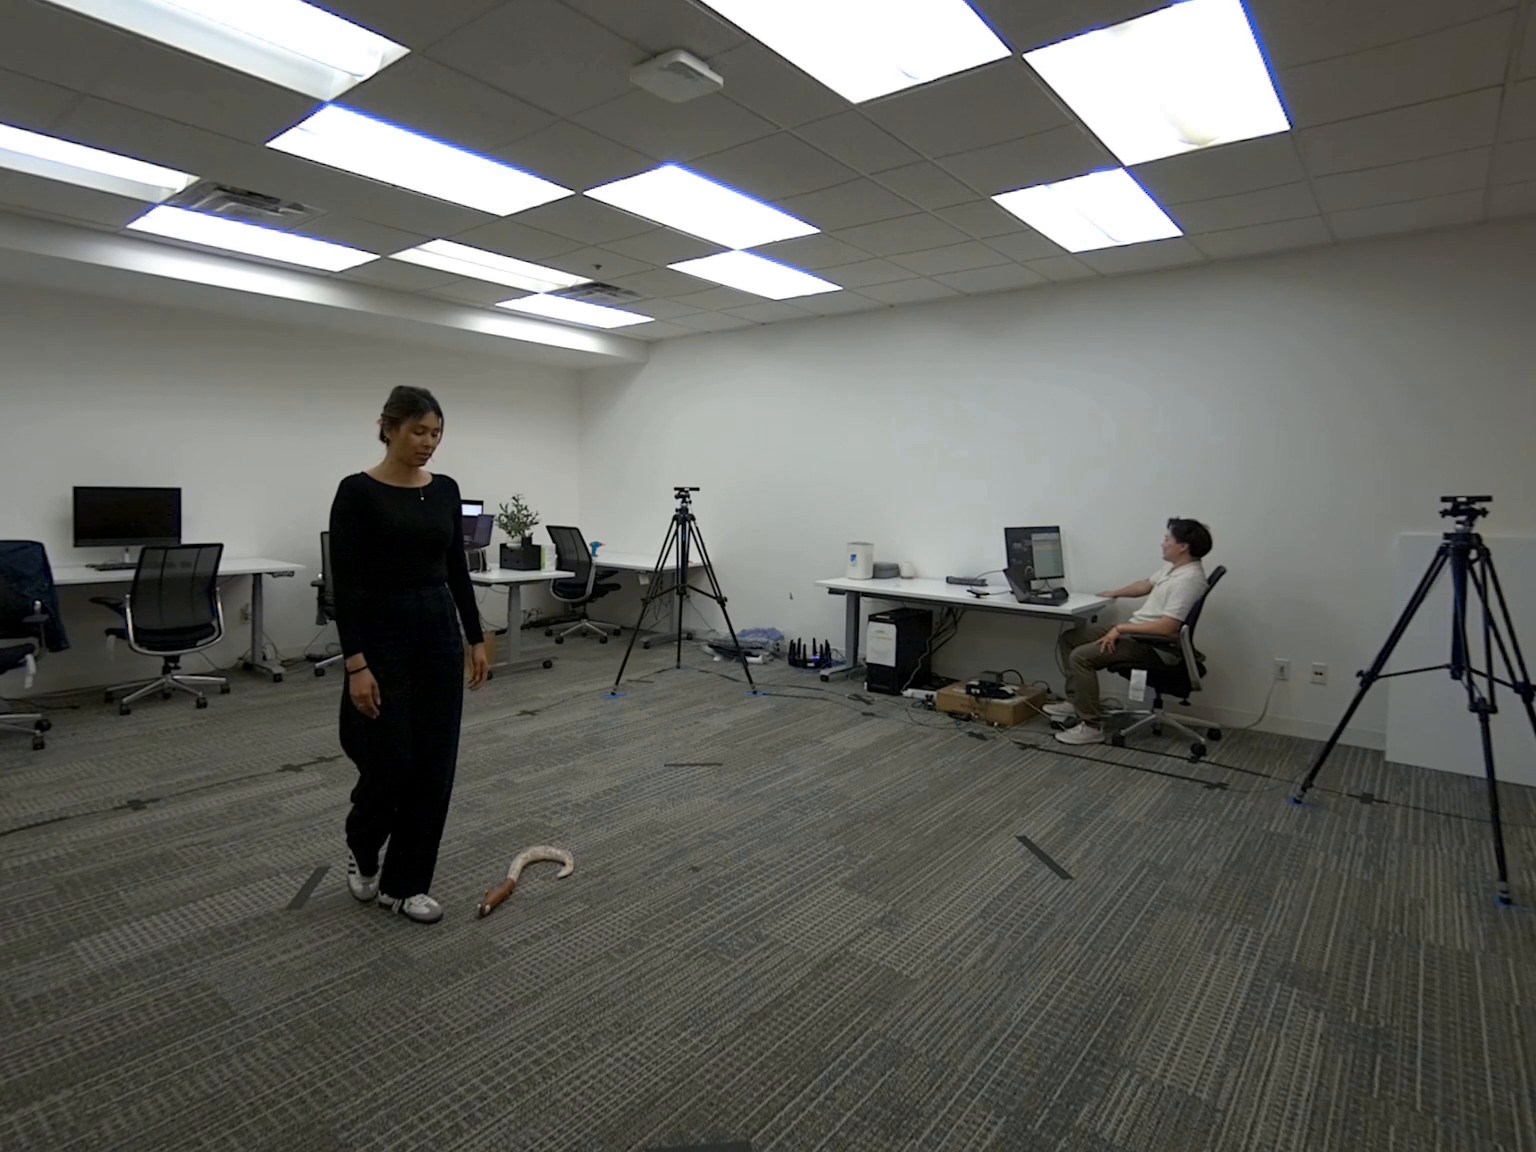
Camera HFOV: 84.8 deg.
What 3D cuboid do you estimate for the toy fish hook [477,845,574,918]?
[{"bbox_3d":[-0.839,1.051,2.951,0.227,0.048,0.503,1,6,9],"label":"toy fish hook"}]
